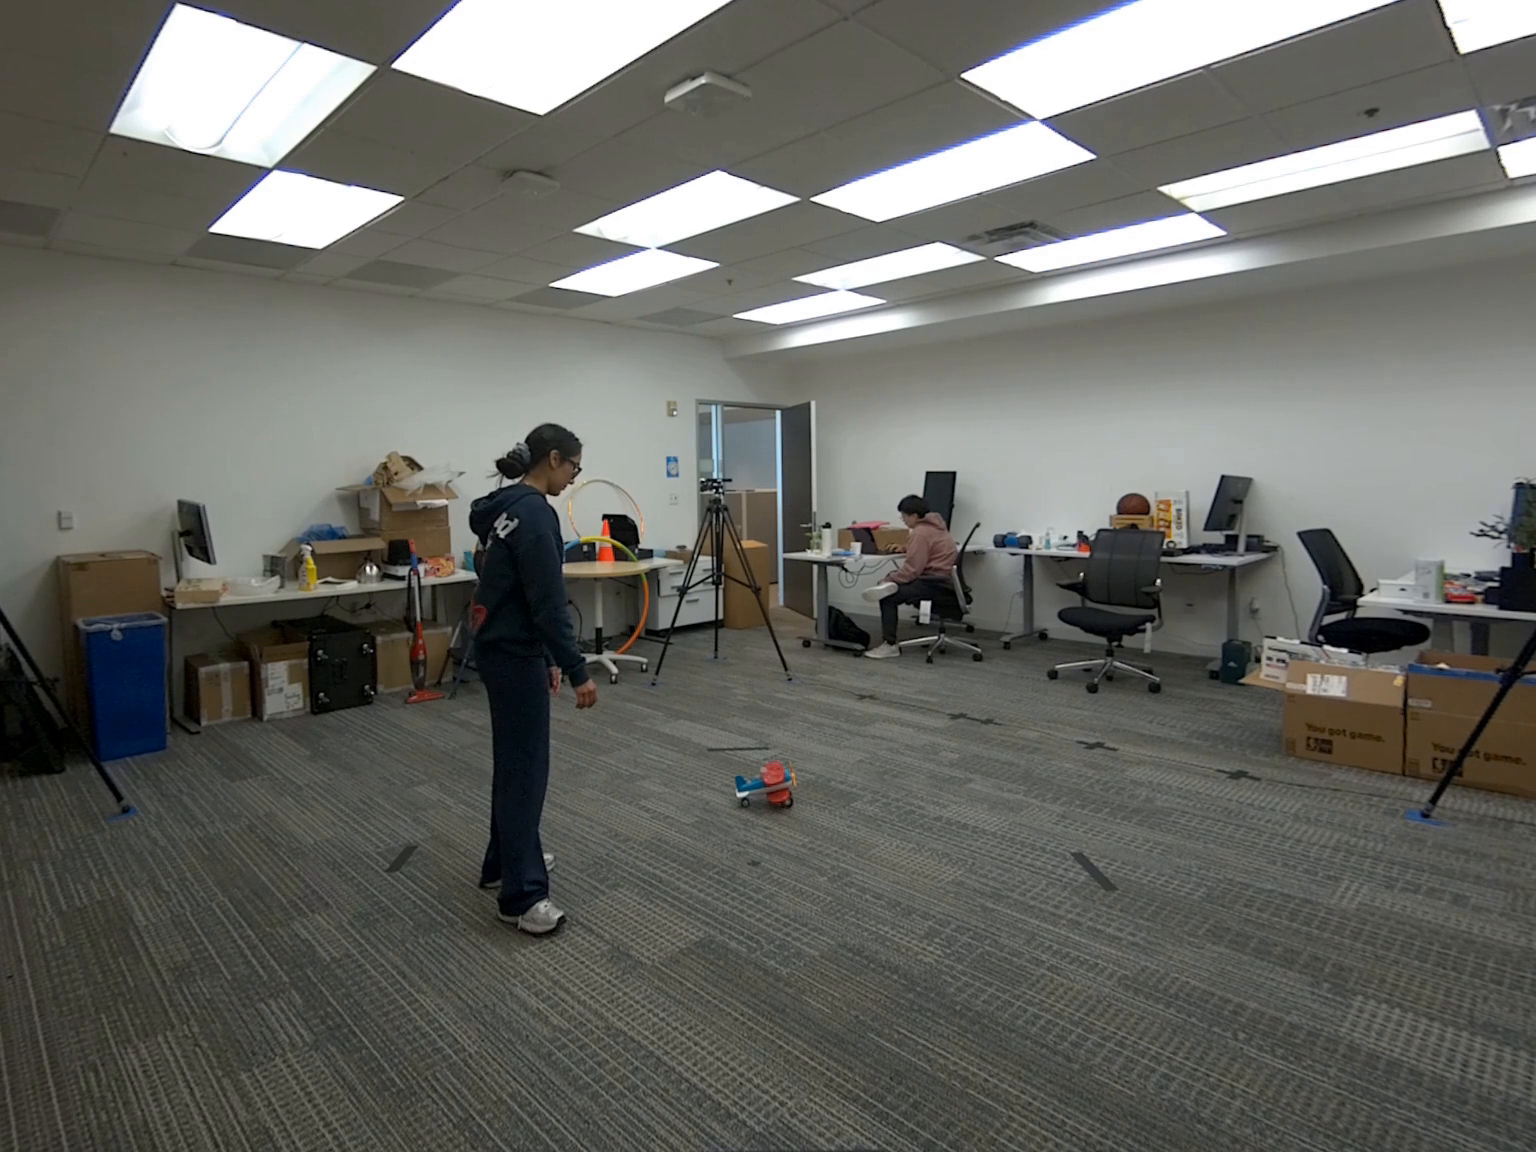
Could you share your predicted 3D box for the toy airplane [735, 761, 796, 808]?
[{"bbox_3d":[0.000,0.907,3.646,0.253,0.156,0.258,-3,6,-29],"label":"toy airplane"}]
